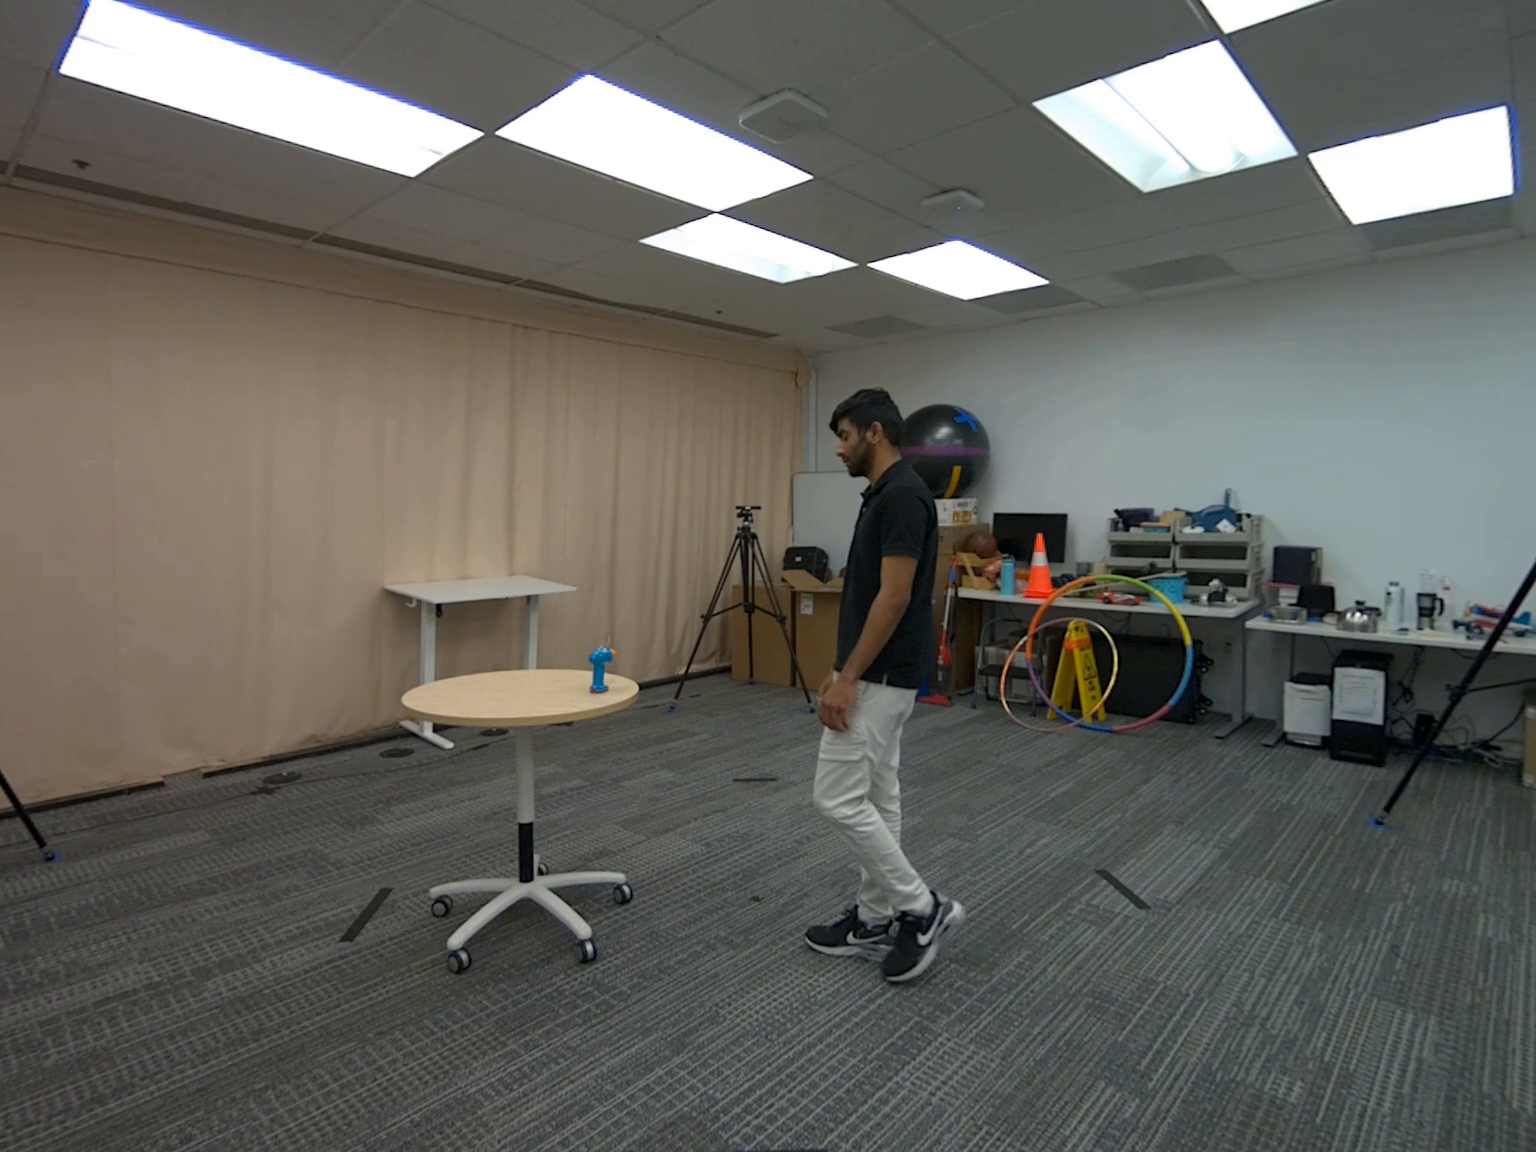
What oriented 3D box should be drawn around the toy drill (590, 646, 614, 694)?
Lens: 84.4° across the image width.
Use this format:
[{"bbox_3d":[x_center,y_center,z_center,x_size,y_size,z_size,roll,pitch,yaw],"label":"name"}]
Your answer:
[{"bbox_3d":[-0.553,0.307,2.814,0.062,0.146,0.168,3,4,7],"label":"toy drill"}]
